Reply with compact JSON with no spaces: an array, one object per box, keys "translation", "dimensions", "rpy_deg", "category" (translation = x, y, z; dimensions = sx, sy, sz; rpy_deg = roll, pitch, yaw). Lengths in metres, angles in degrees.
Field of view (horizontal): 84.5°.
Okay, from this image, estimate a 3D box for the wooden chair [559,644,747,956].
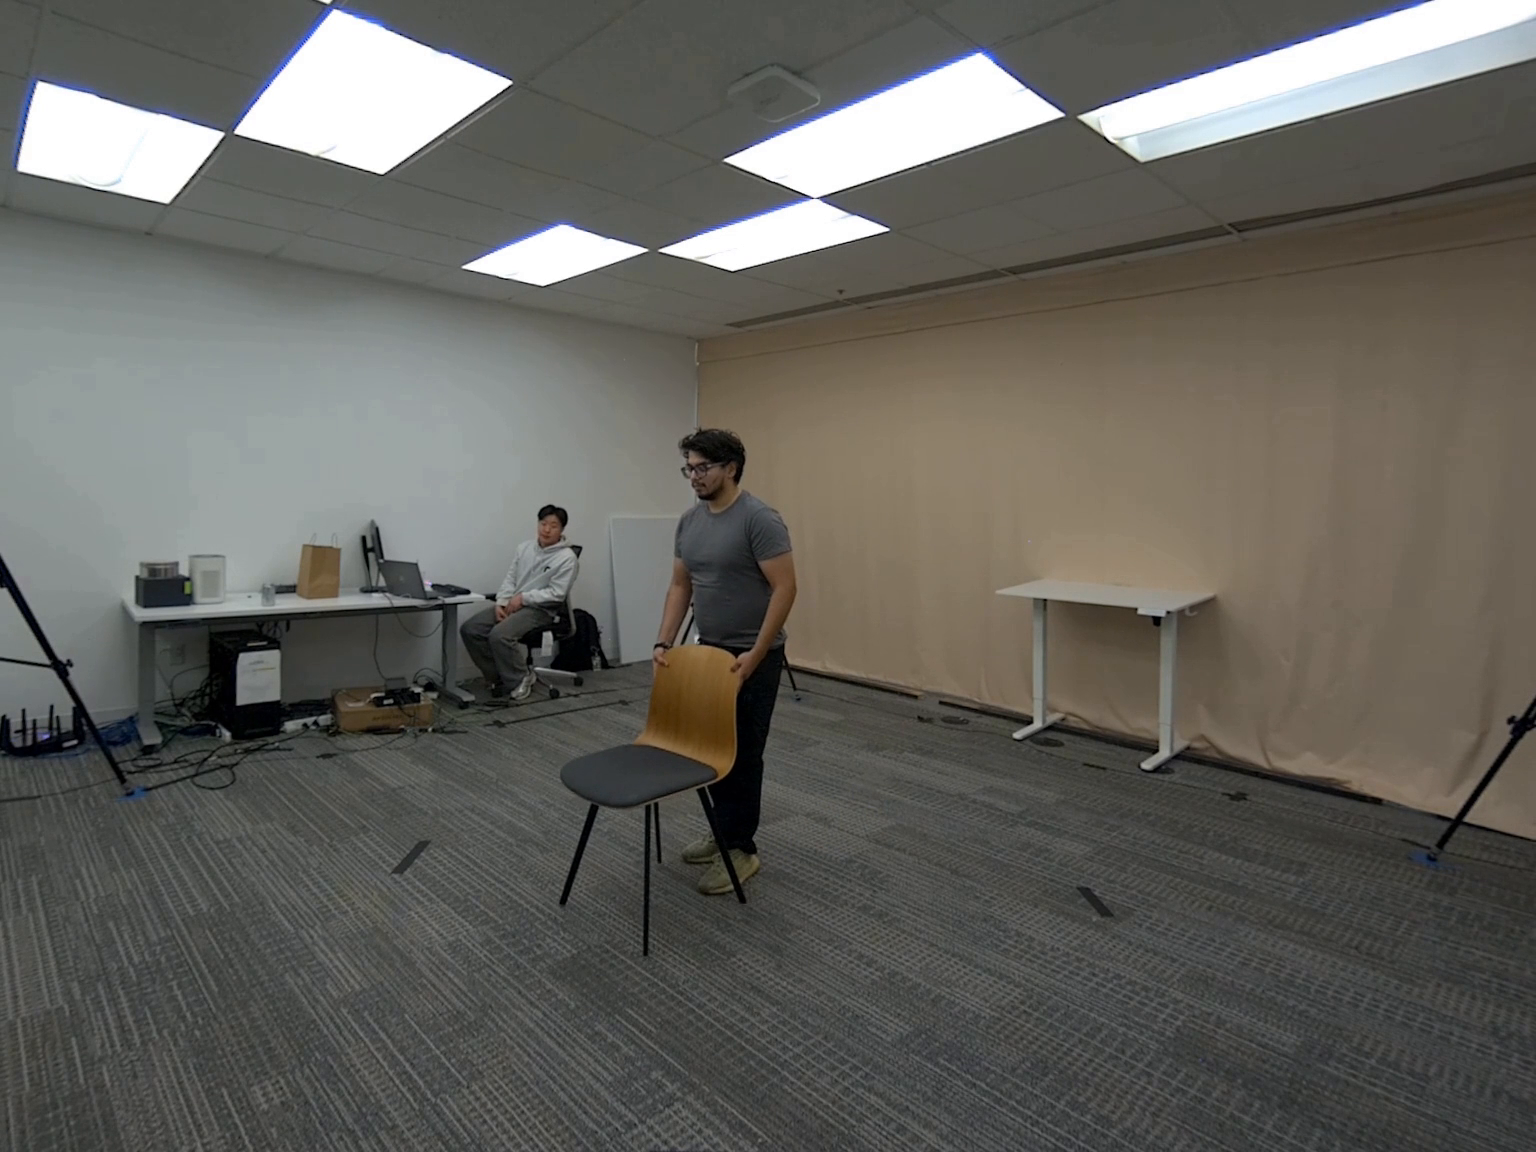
[{"translation":[-0.392,0.692,2.811],"dimensions":[0.490,0.877,0.510],"rpy_deg":[5,2,42],"category":"wooden chair"}]
